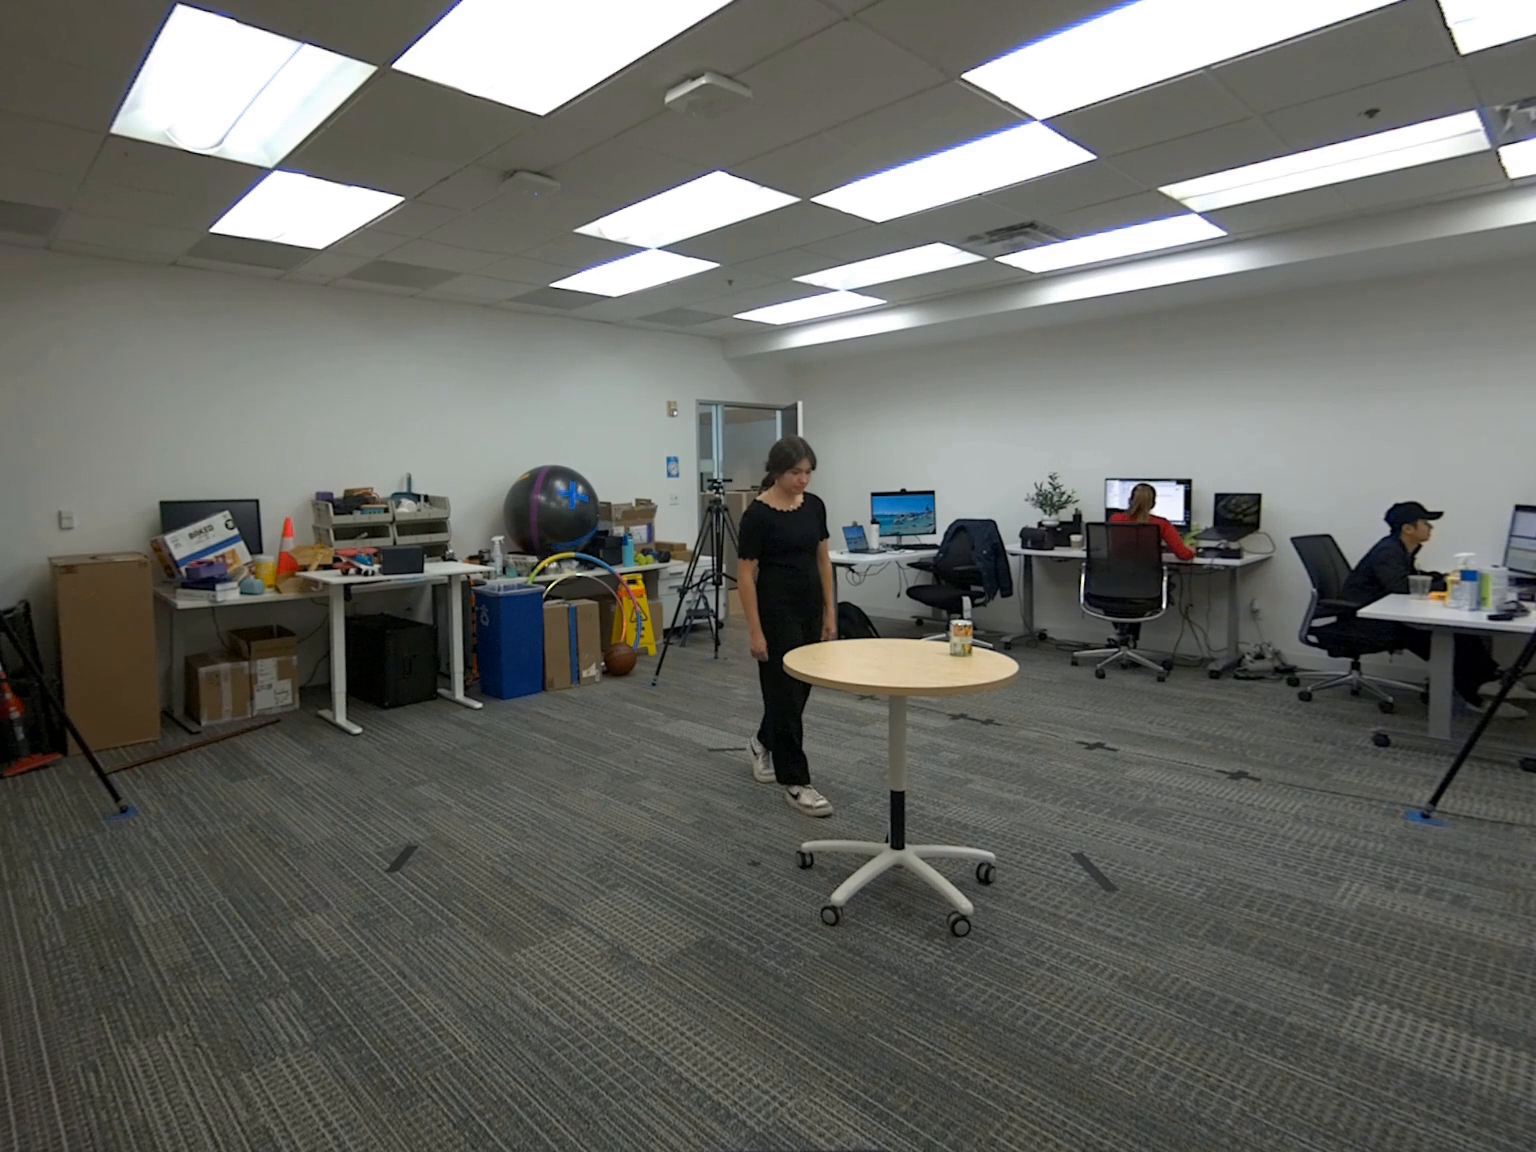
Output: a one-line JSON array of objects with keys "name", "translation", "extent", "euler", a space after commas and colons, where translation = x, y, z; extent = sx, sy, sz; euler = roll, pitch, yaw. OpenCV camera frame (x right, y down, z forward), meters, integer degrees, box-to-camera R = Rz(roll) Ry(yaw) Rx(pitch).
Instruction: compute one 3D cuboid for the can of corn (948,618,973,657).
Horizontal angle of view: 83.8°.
[{"name": "can of corn", "translation": [0.663, 0.214, 2.935], "extent": [0.074, 0.111, 0.074], "euler": [0, 4, -2]}]
